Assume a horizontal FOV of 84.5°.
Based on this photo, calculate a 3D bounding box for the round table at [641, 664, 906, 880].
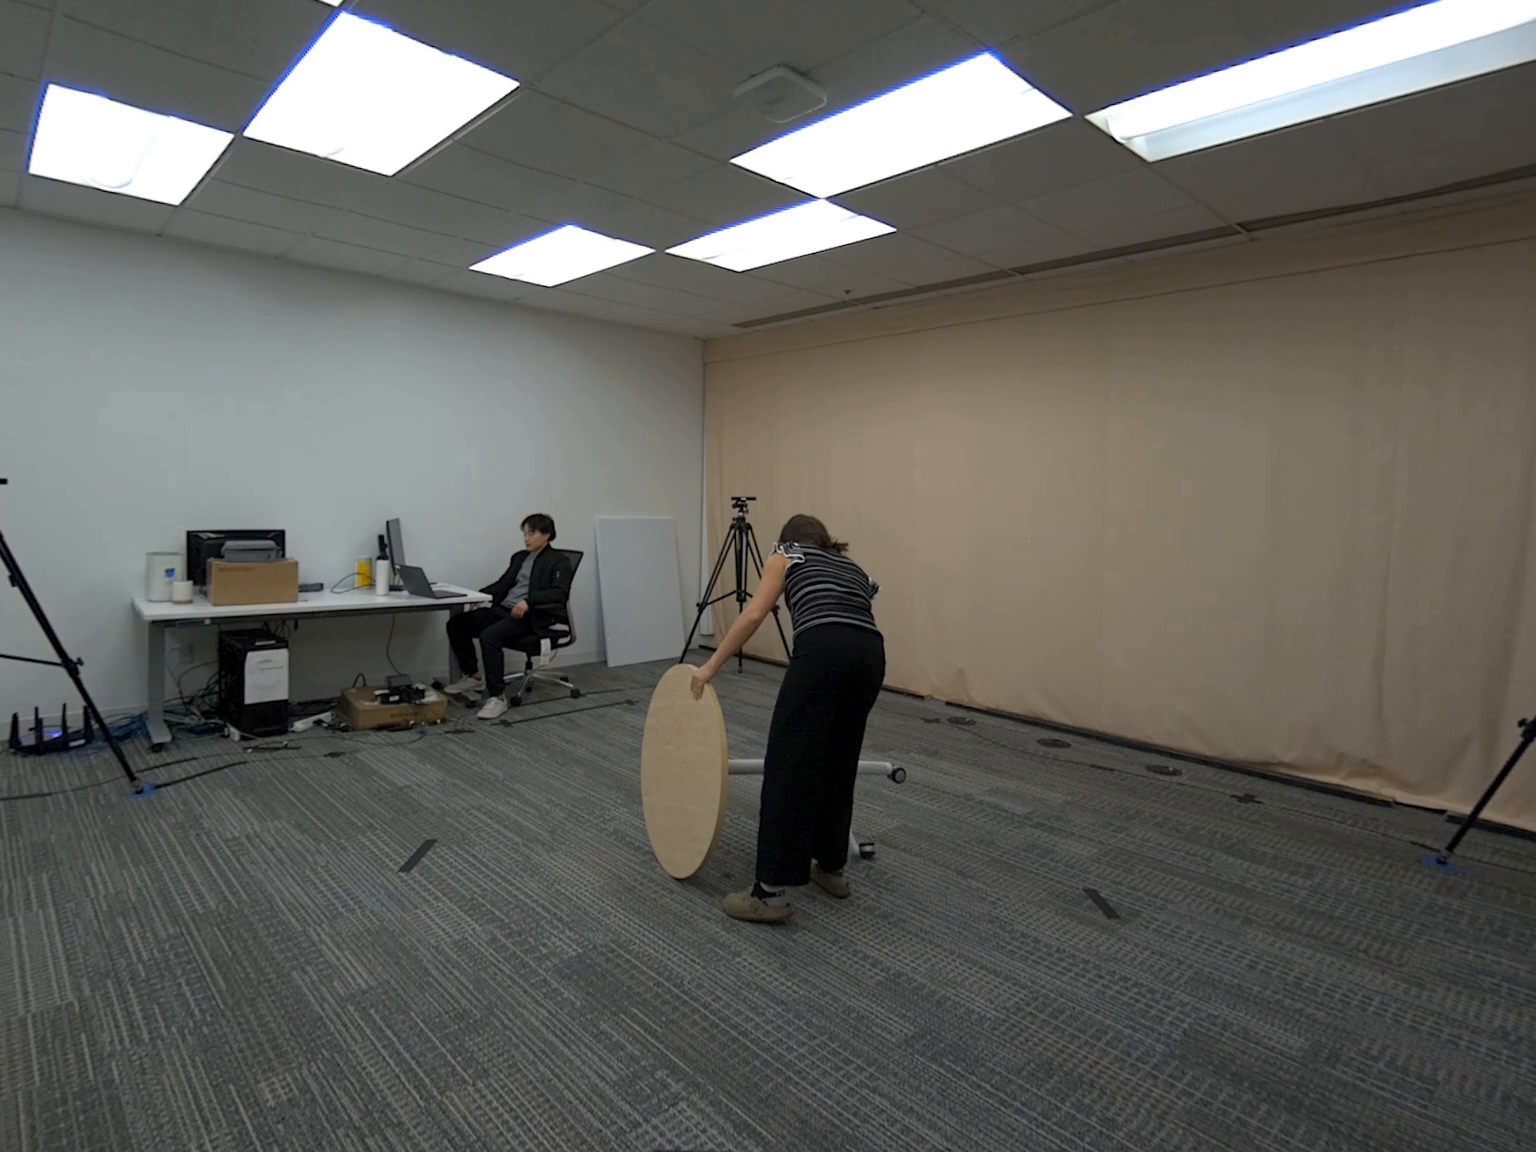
[{"bbox_3d":[-0.002,0.757,3.316,0.778,0.763,0.780,5,2,-26],"label":"round table"}]
